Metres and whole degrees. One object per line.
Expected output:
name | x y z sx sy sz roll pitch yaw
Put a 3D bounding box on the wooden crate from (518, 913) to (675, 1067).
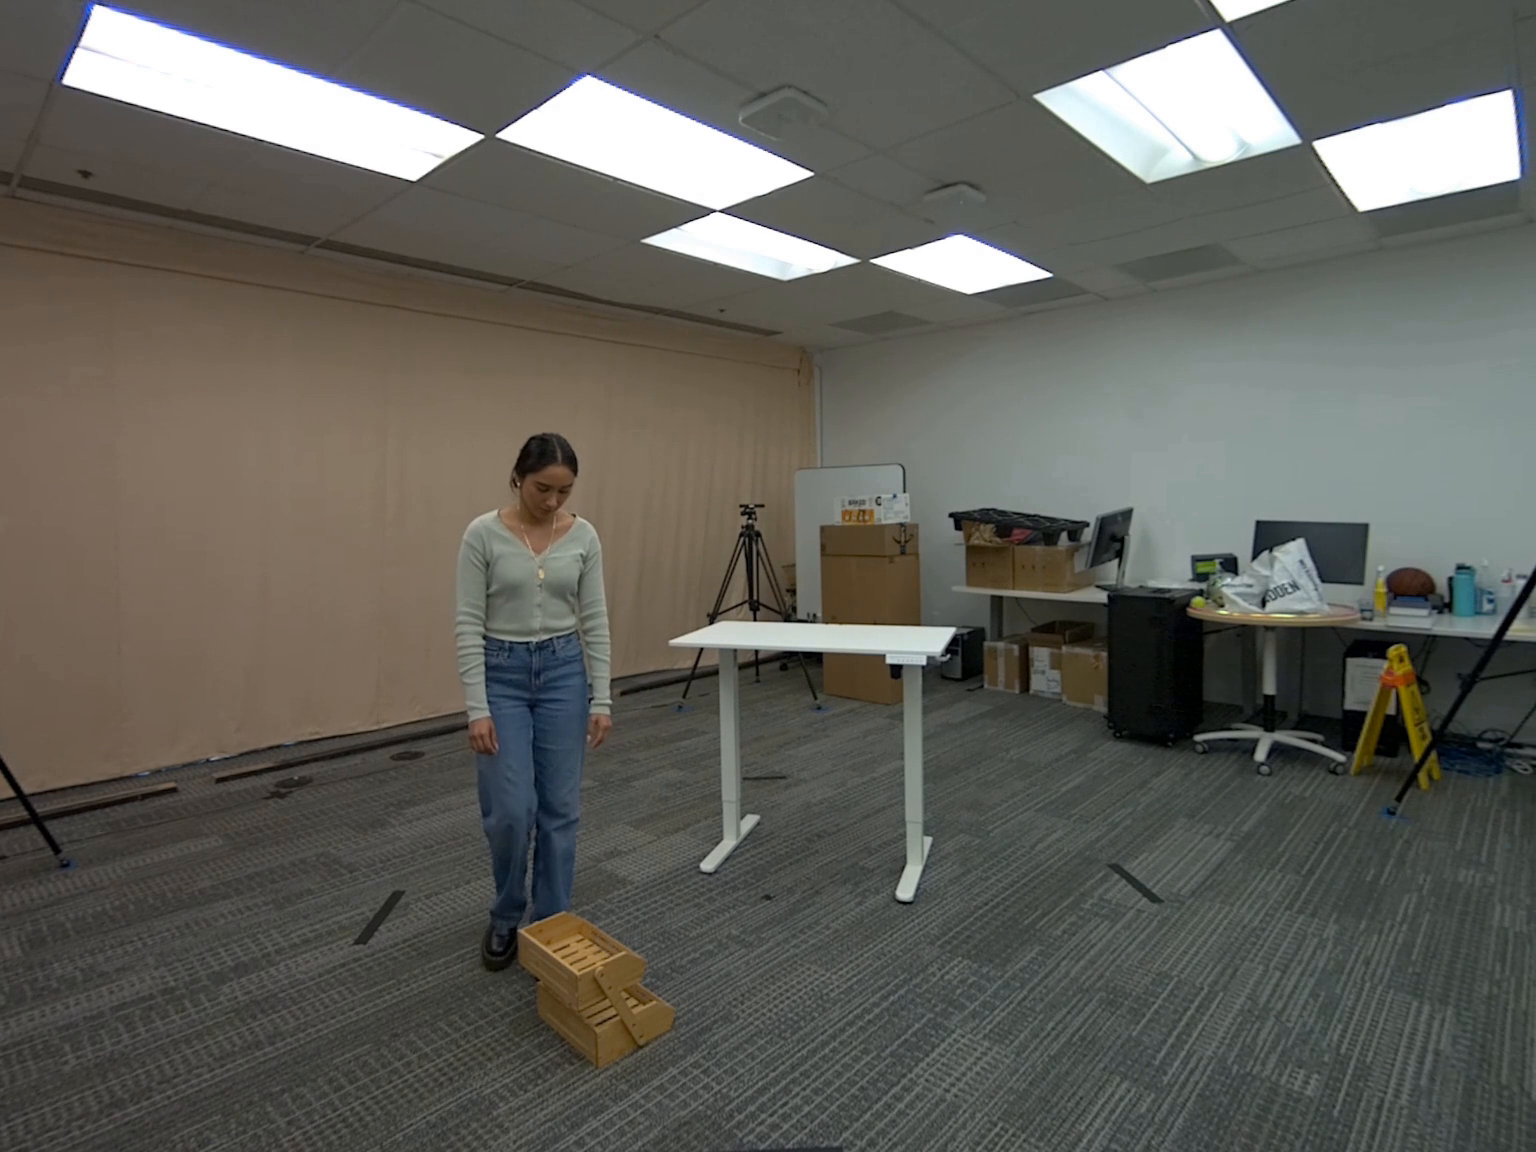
wooden crate | -0.457 1.078 2.257 0.293 0.273 0.335 -5 5 -43
